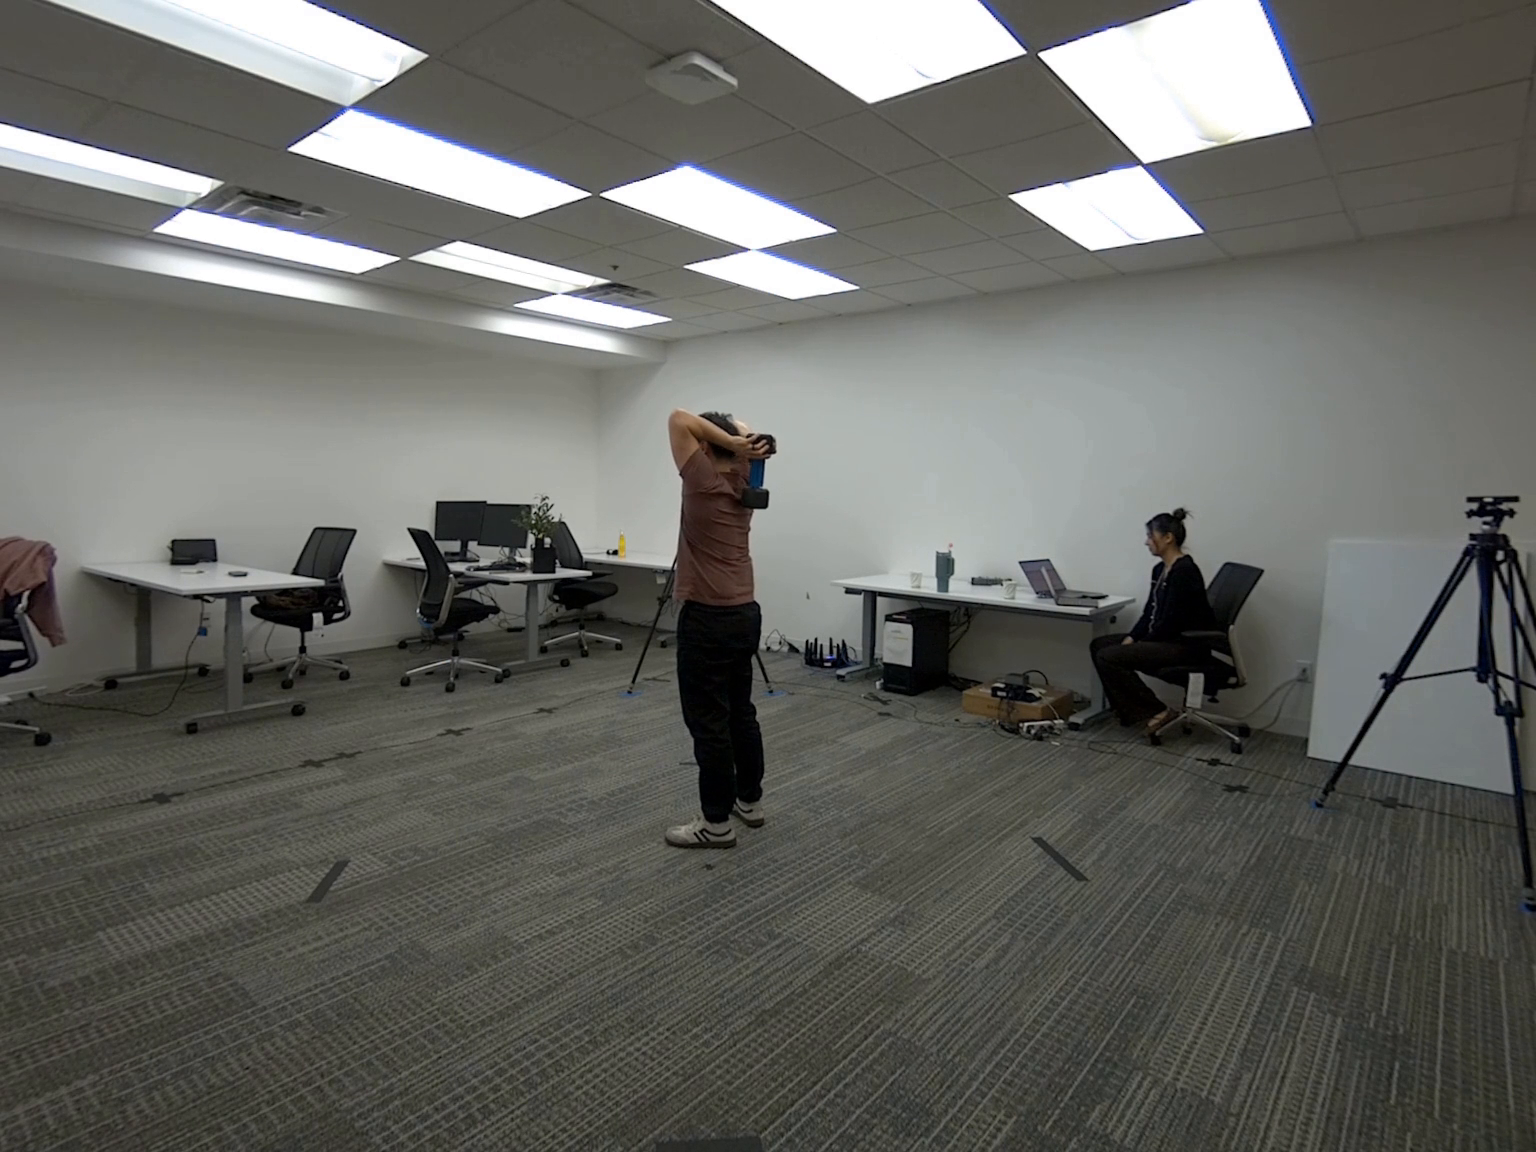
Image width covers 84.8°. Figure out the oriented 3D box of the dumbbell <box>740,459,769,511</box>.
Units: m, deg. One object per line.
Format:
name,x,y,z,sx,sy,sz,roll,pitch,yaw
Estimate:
dumbbell,-0.053,-0.424,3.335,0.127,0.292,0.105,8,5,33
